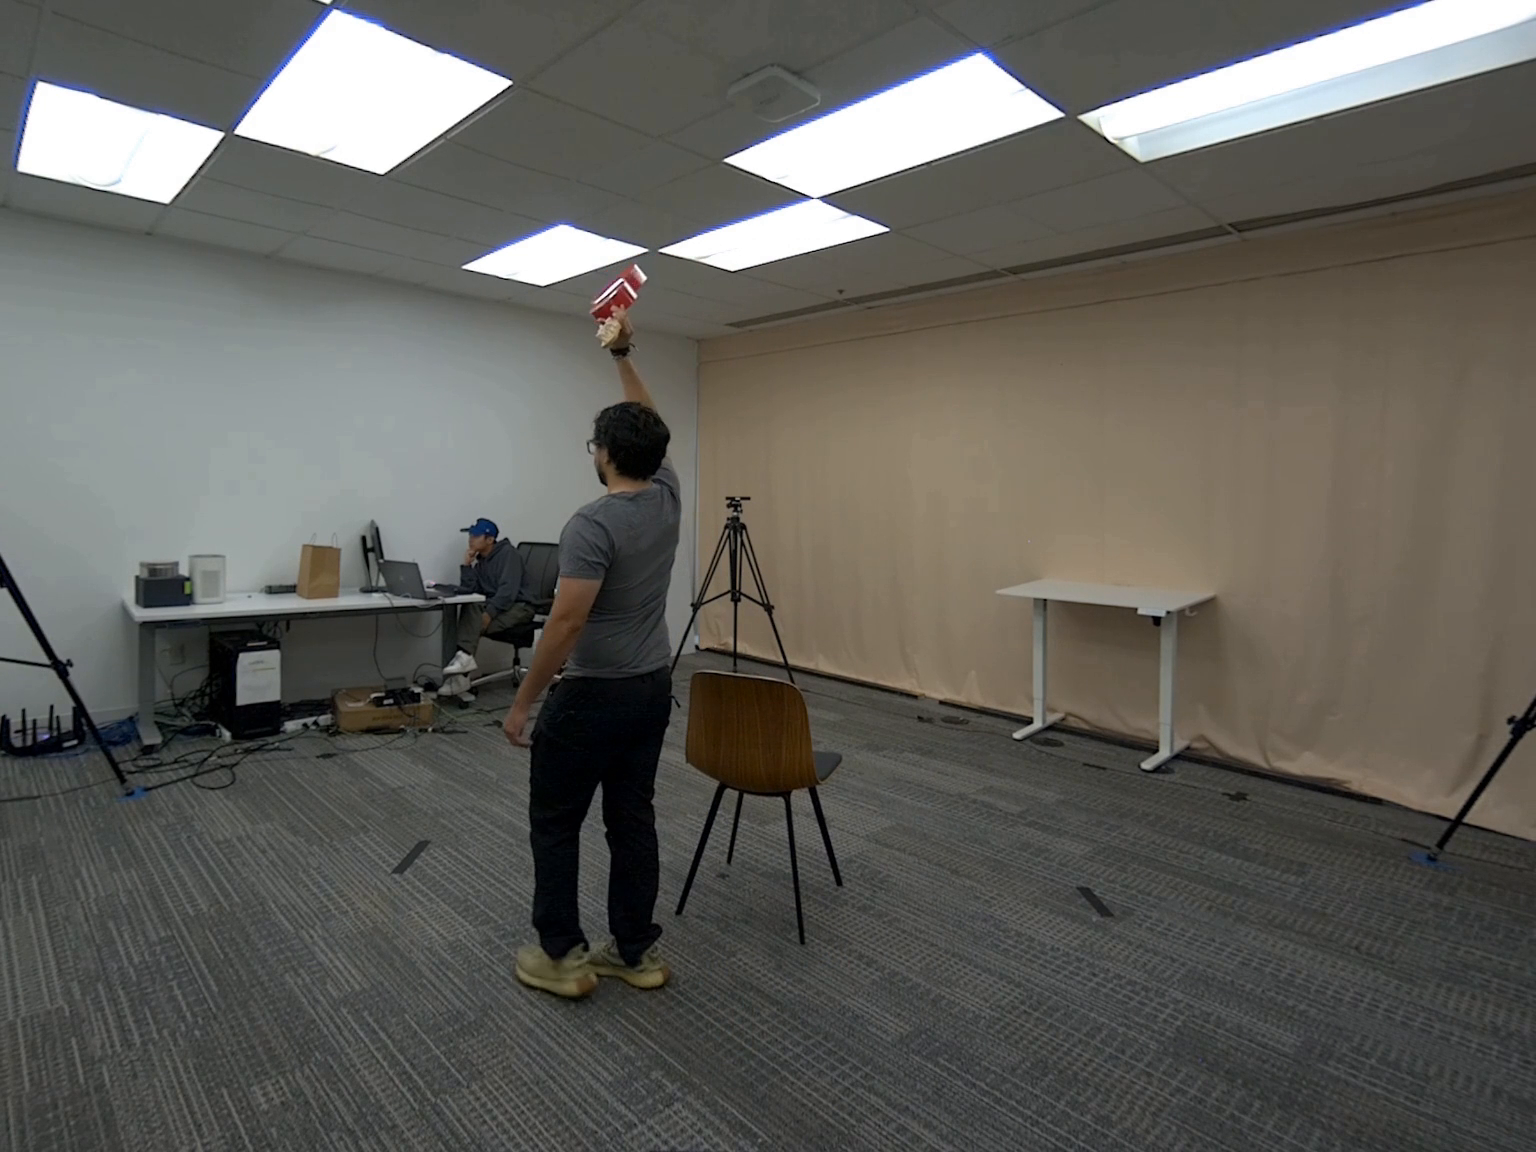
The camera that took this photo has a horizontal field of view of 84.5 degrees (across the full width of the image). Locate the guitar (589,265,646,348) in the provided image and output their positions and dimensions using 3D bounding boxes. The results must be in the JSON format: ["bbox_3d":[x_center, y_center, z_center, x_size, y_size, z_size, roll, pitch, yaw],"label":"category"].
[{"bbox_3d":[-0.461,-0.833,2.577,0.069,0.193,0.509,45,14,-27],"label":"guitar"}]
